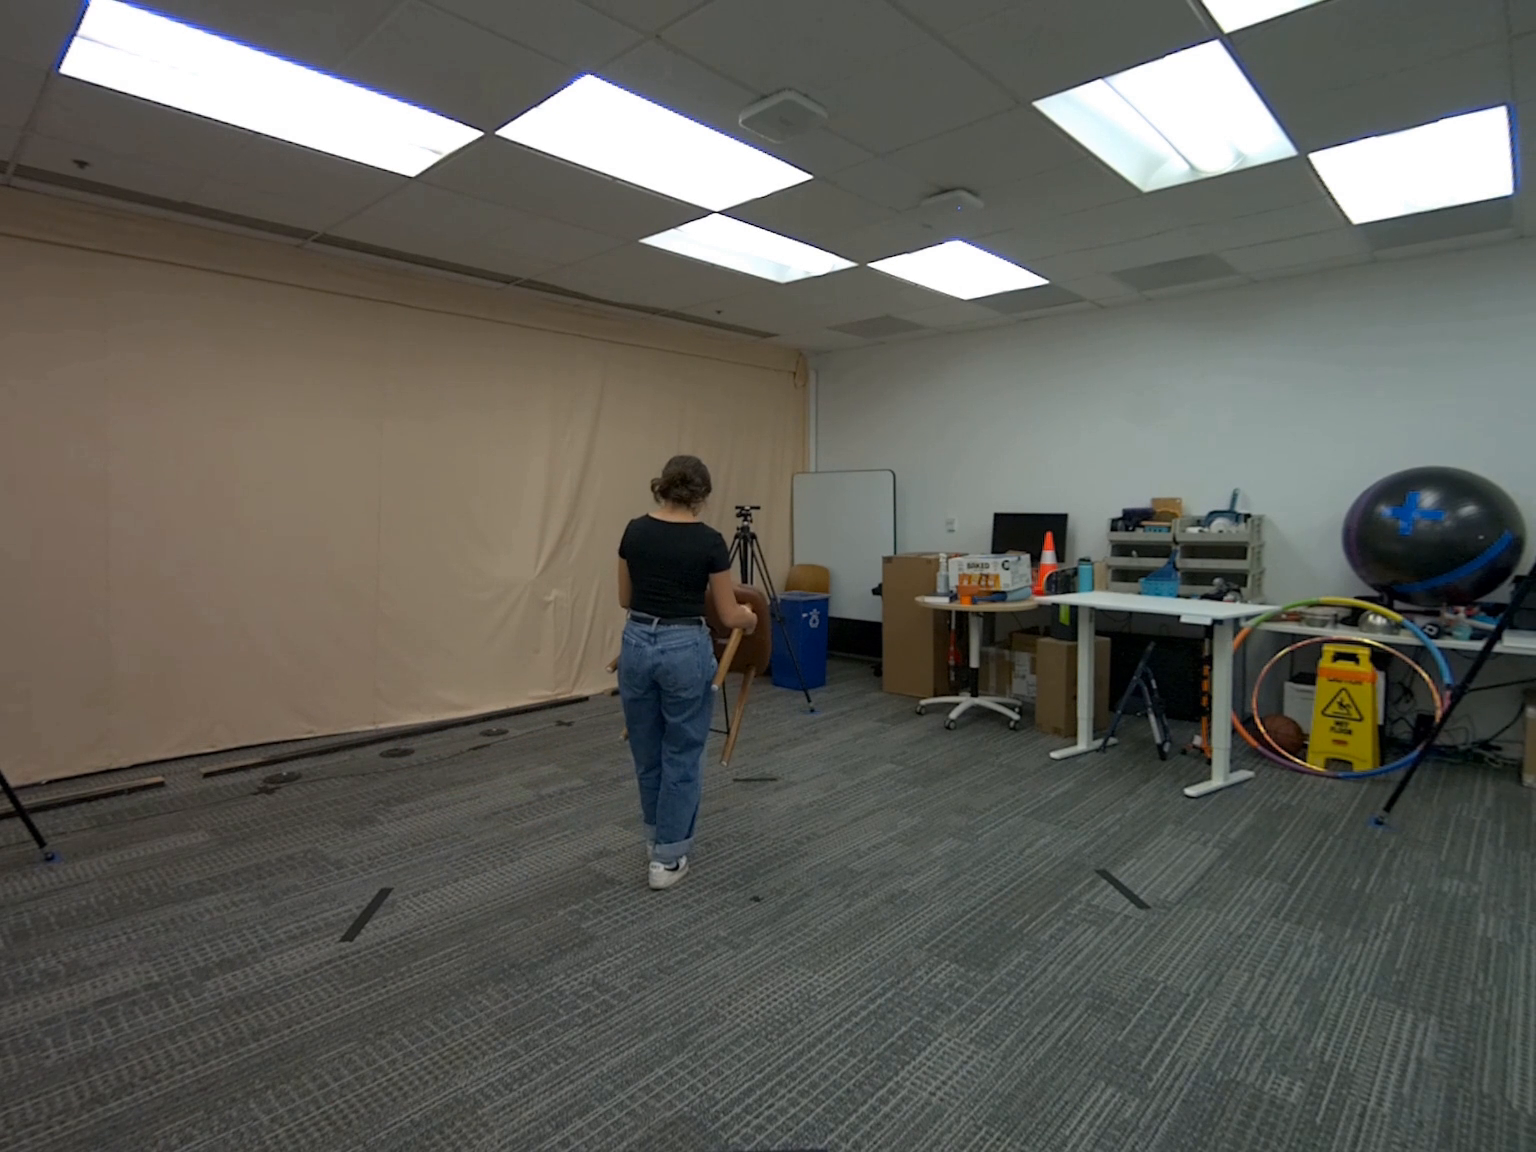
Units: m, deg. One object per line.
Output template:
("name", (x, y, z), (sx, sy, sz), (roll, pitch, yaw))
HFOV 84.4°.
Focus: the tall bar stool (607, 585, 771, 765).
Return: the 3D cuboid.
("tall bar stool", (-0.251, 0.290, 3.476), (0.477, 0.447, 0.891), (5, 36, 16))
